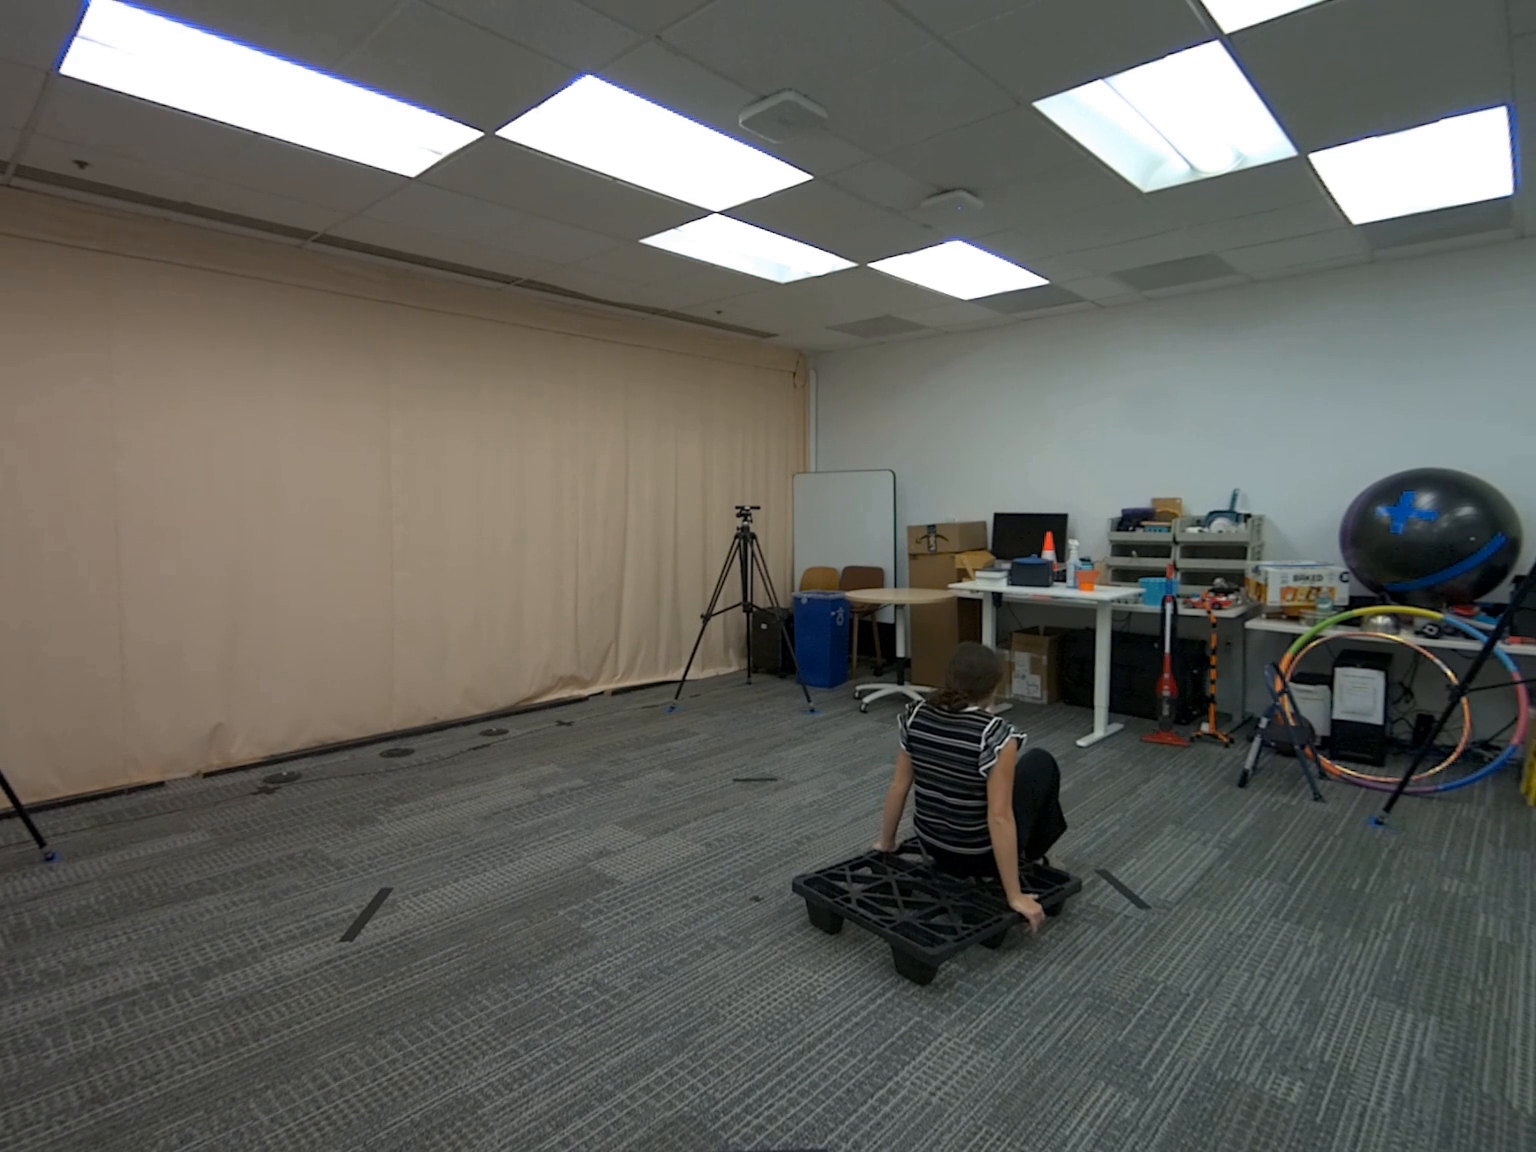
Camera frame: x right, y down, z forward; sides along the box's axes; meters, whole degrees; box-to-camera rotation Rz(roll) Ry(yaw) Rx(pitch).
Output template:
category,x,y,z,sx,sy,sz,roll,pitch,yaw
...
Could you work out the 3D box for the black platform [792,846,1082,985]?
category,x,y,z,sx,sy,sz,roll,pitch,yaw
black platform,0.573,1.086,2.833,0.781,0.143,0.625,-3,7,-39
